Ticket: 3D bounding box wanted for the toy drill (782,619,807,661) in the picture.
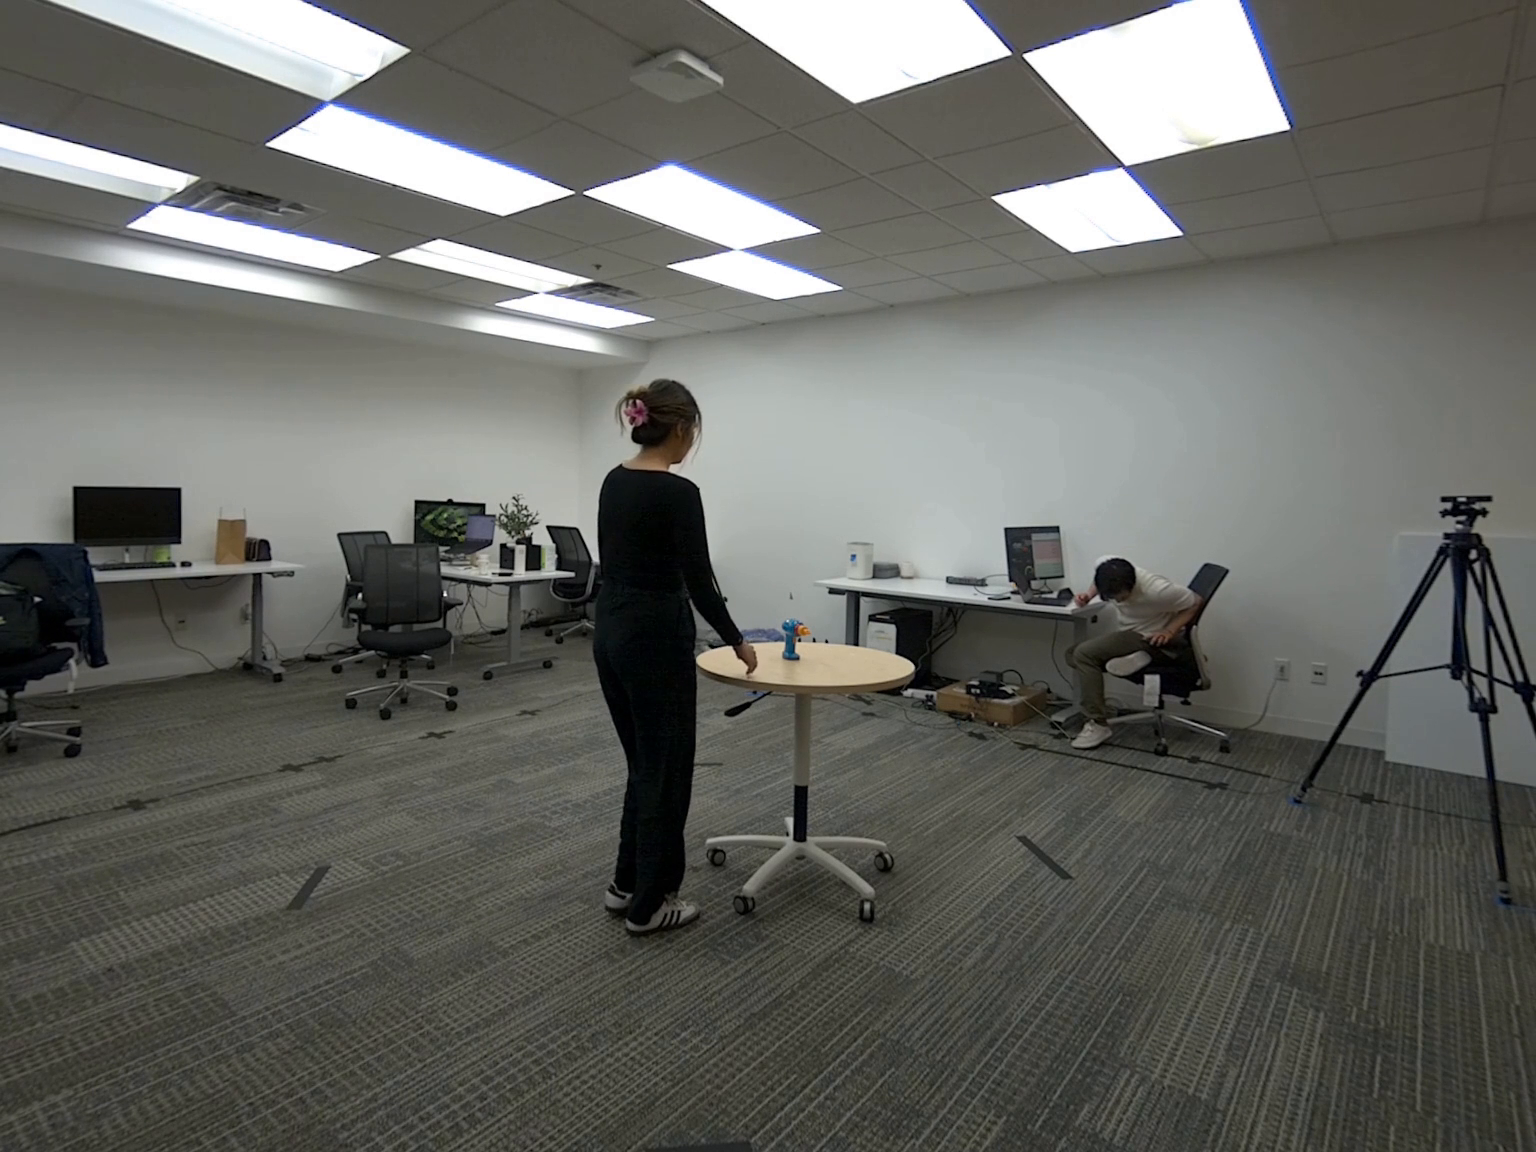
[{"bbox_3d":[0.095,0.225,3.016,0.060,0.145,0.174,-5,6,-27],"label":"toy drill"}]
